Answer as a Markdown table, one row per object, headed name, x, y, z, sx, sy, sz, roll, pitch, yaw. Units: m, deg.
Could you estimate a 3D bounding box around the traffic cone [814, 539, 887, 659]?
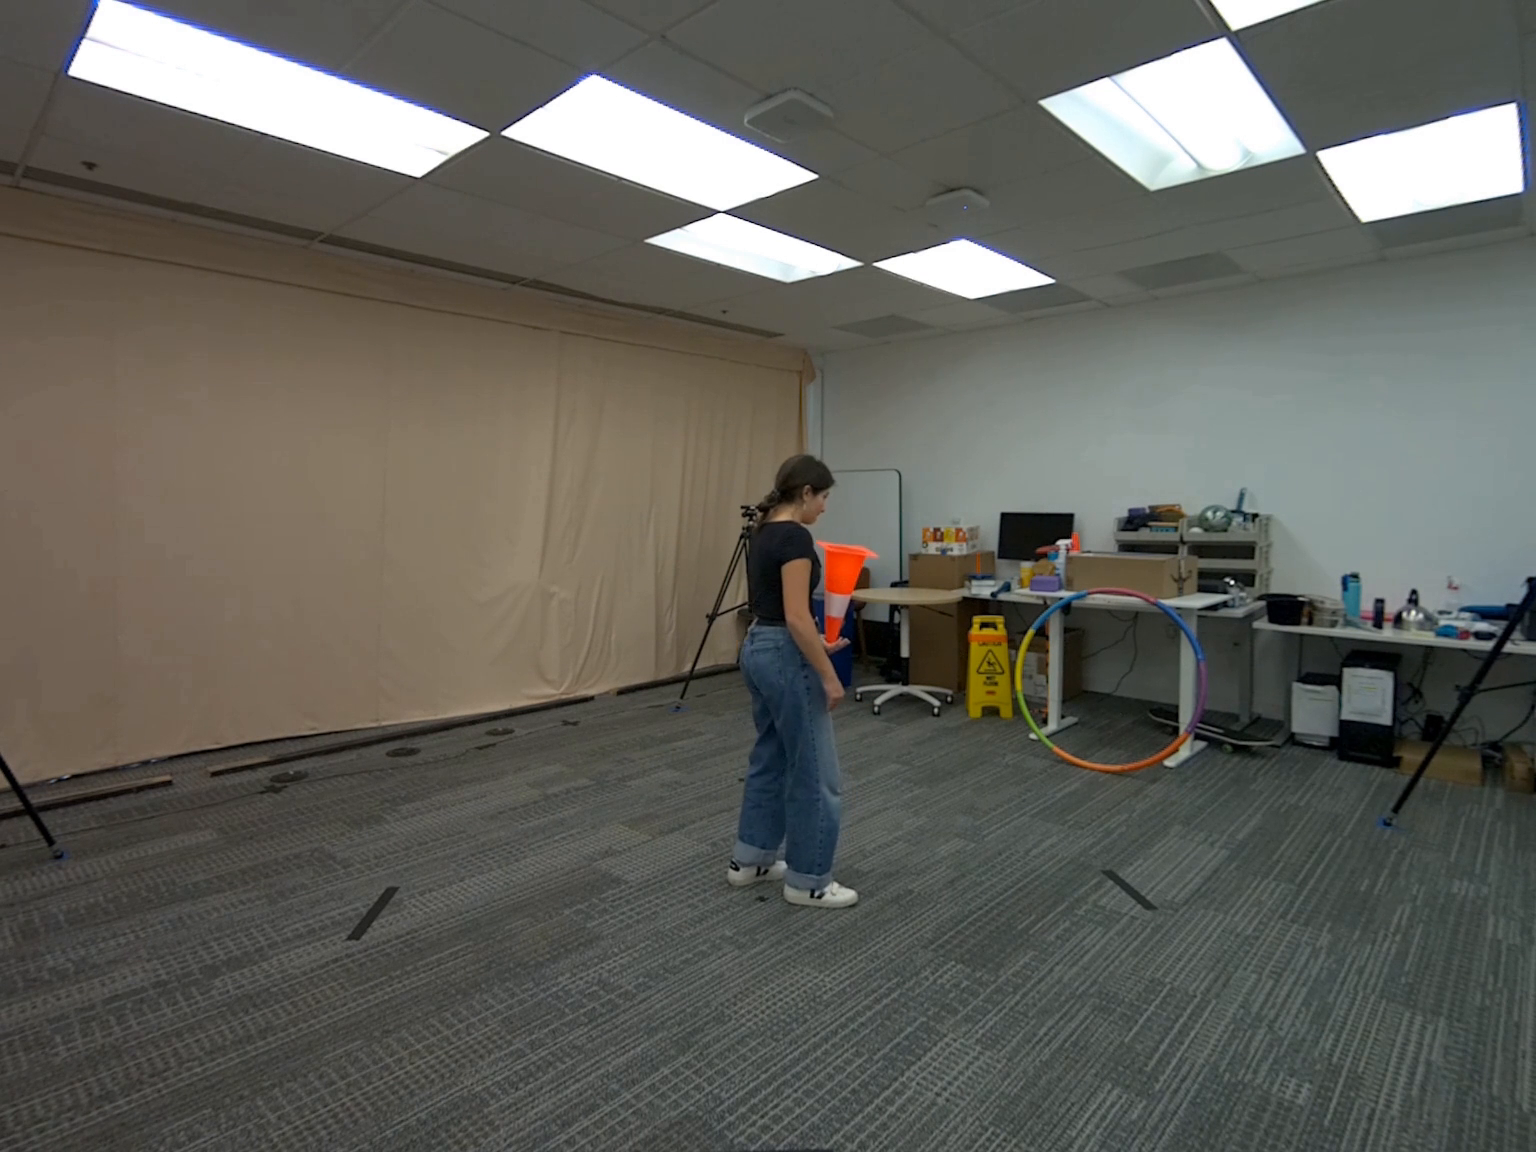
| name | x | y | z | sx | sy | sz | roll | pitch | yaw |
| --- | --- | --- | --- | --- | --- | --- | --- | --- | --- |
| traffic cone | 0.280 | 0.081 | 3.164 | 0.203 | 0.381 | 0.207 | 6 | 12 | -10 |
